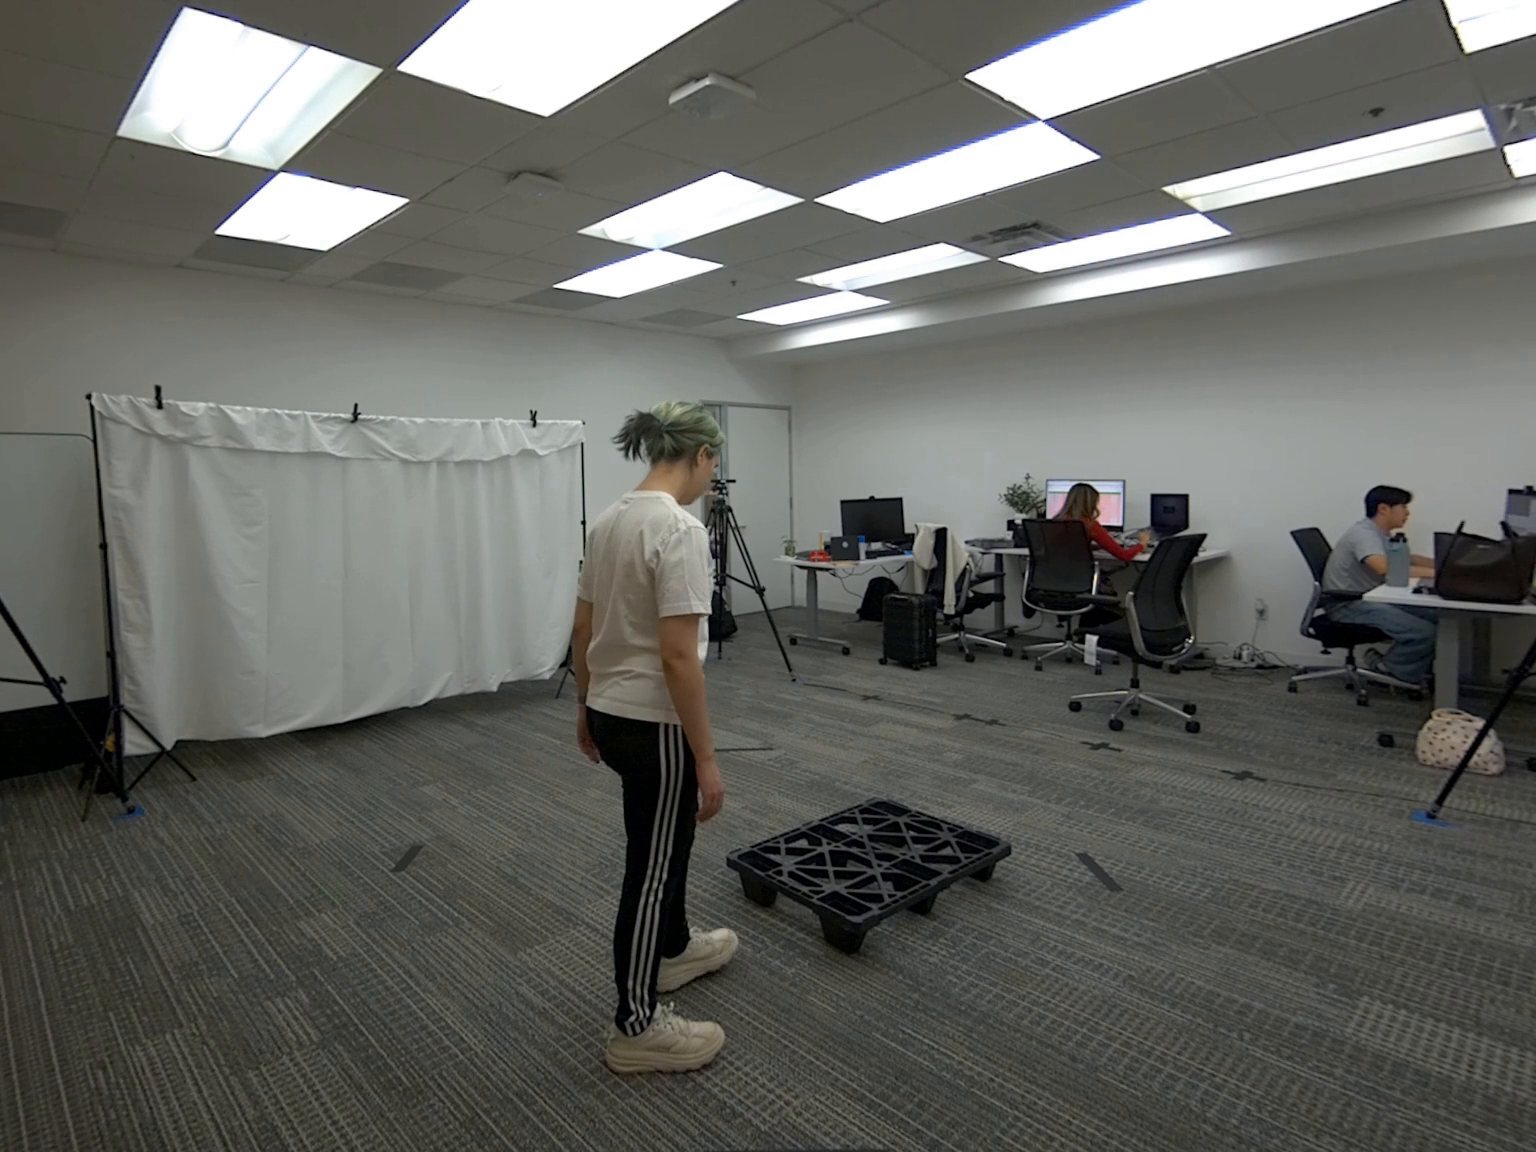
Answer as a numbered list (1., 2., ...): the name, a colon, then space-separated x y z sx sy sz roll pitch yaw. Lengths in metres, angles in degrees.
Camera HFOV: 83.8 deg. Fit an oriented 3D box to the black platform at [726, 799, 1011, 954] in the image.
1. black platform: 0.355 0.996 2.908 0.785 0.142 0.624 -7 9 -41
